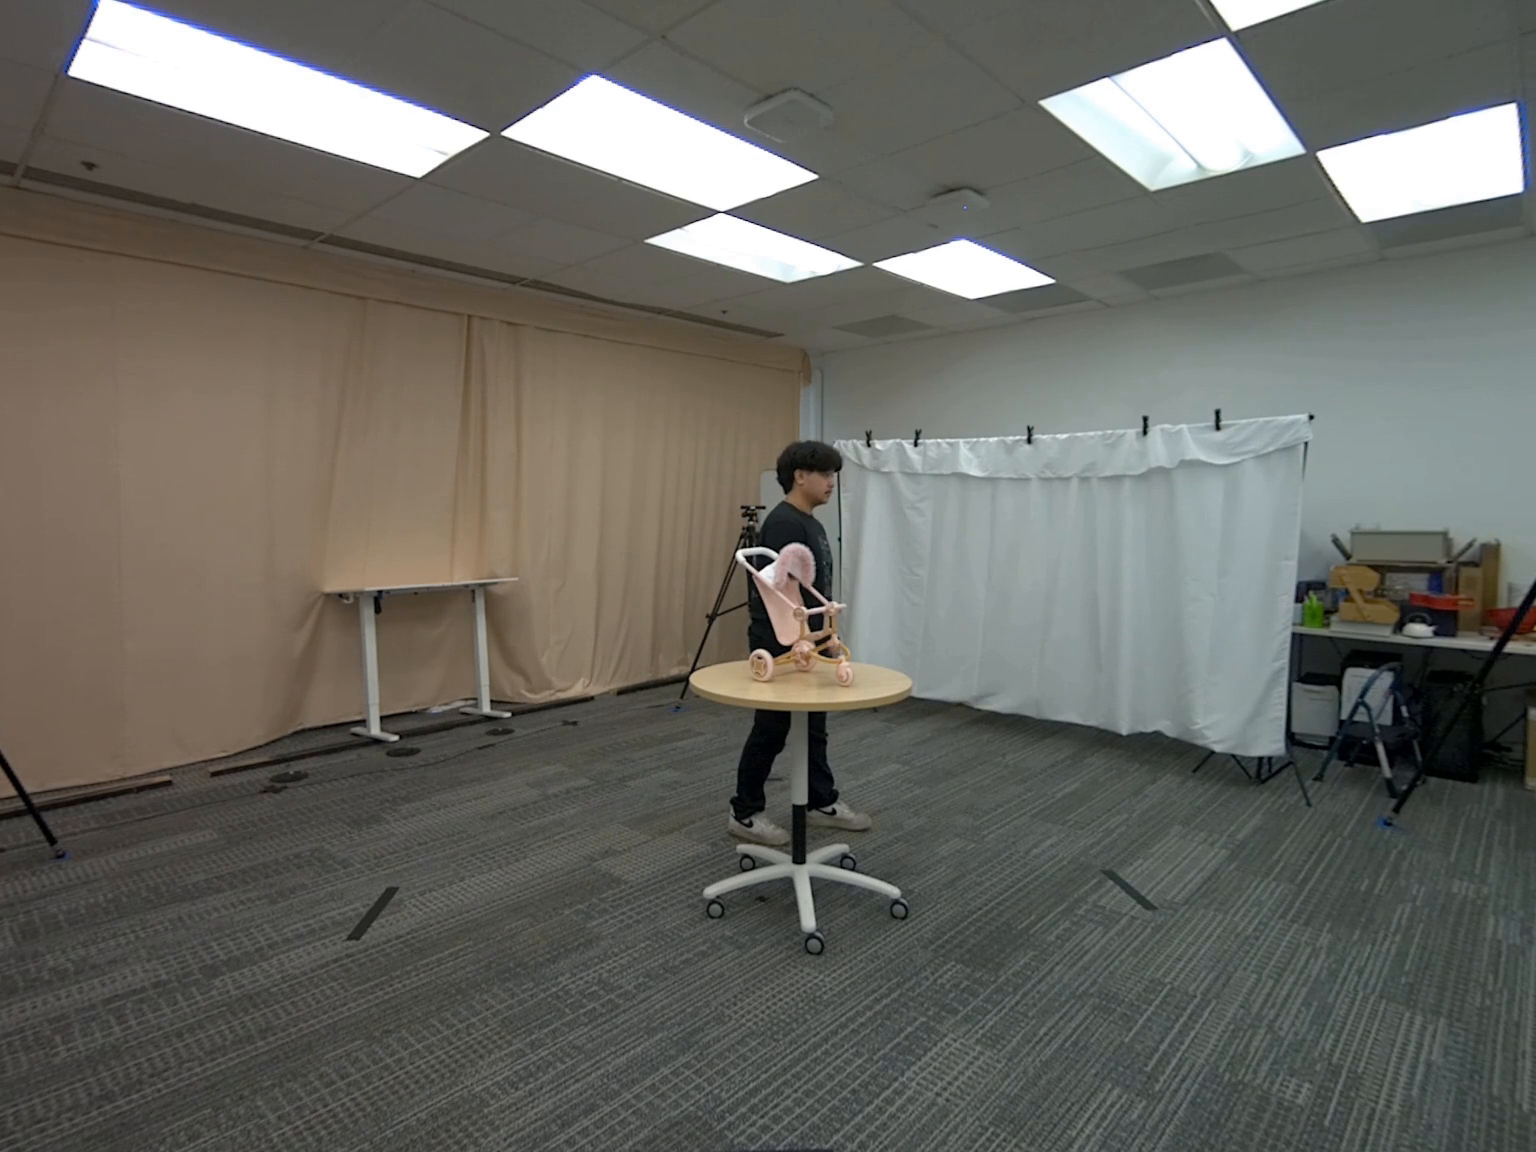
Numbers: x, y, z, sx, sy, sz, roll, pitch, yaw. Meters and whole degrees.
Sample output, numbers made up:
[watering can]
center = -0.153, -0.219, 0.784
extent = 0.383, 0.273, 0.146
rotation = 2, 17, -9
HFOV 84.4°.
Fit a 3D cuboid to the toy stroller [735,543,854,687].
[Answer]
[toy stroller]
center = 0.105, 0.129, 2.900
extent = 0.273, 0.538, 0.350
rotation = -3, -10, -45
